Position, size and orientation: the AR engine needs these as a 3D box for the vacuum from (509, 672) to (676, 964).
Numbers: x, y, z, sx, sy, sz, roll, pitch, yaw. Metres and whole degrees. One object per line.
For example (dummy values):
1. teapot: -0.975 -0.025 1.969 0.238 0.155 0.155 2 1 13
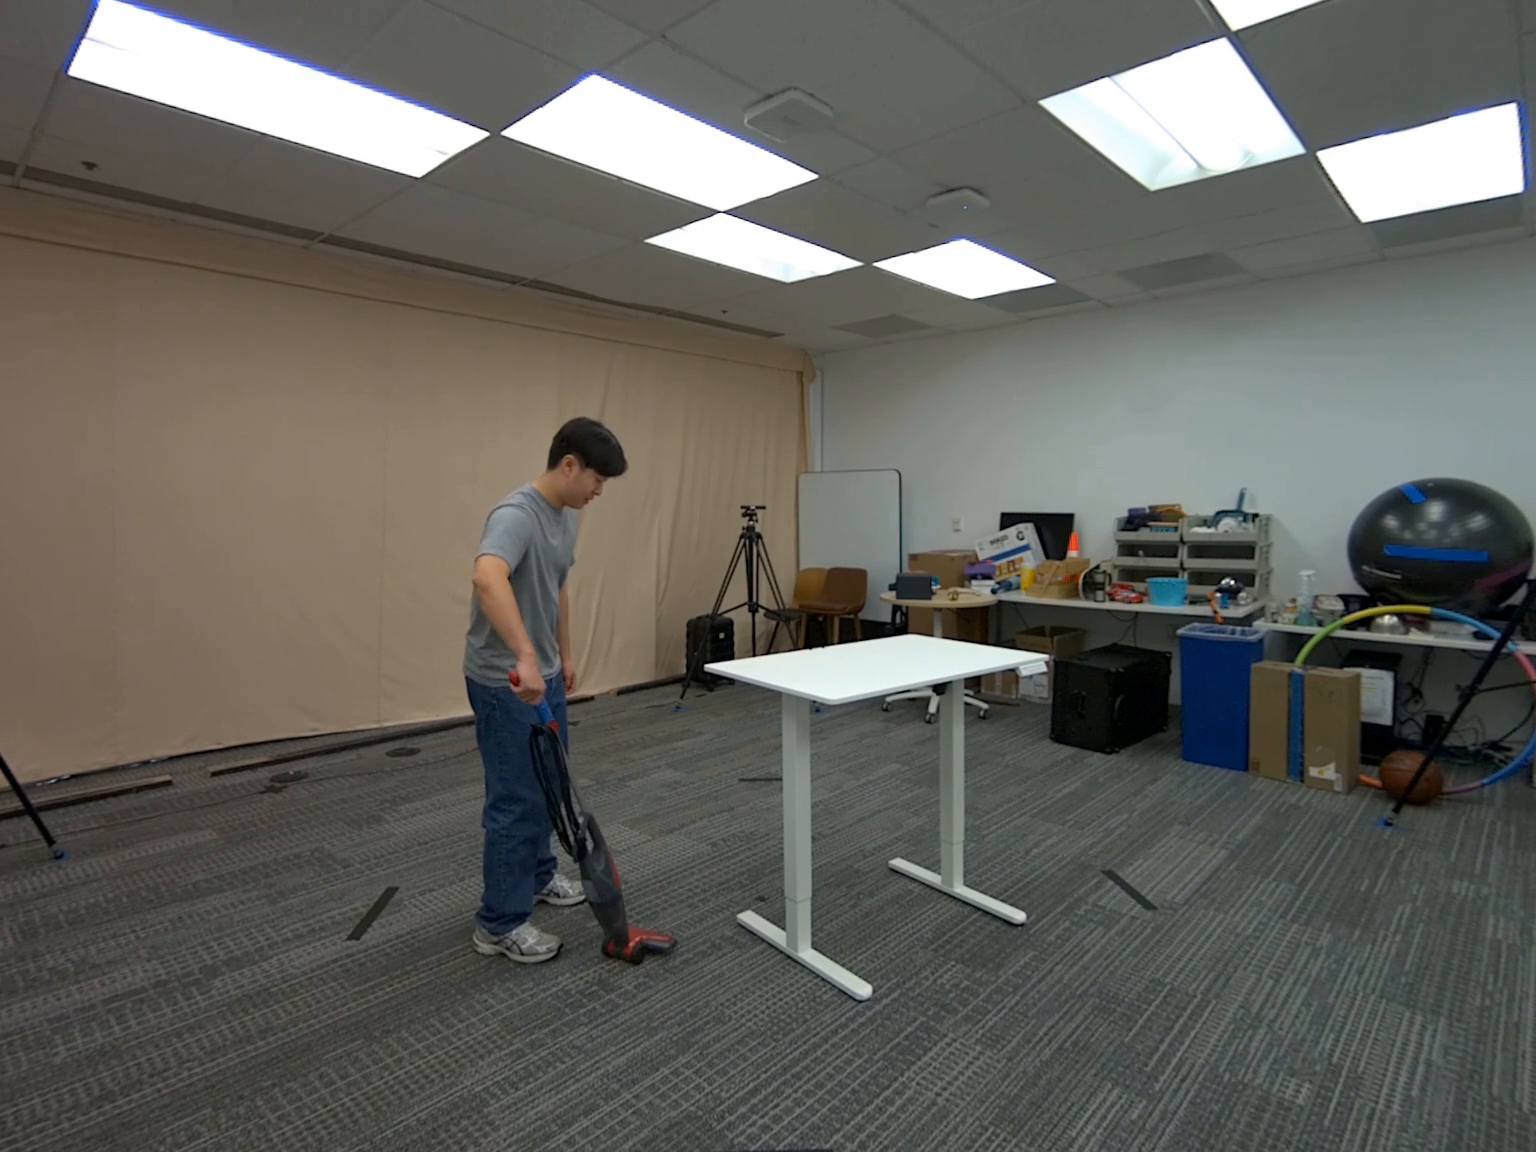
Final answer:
1. vacuum: -0.552 0.725 2.433 0.261 1.028 0.142 2 30 37
